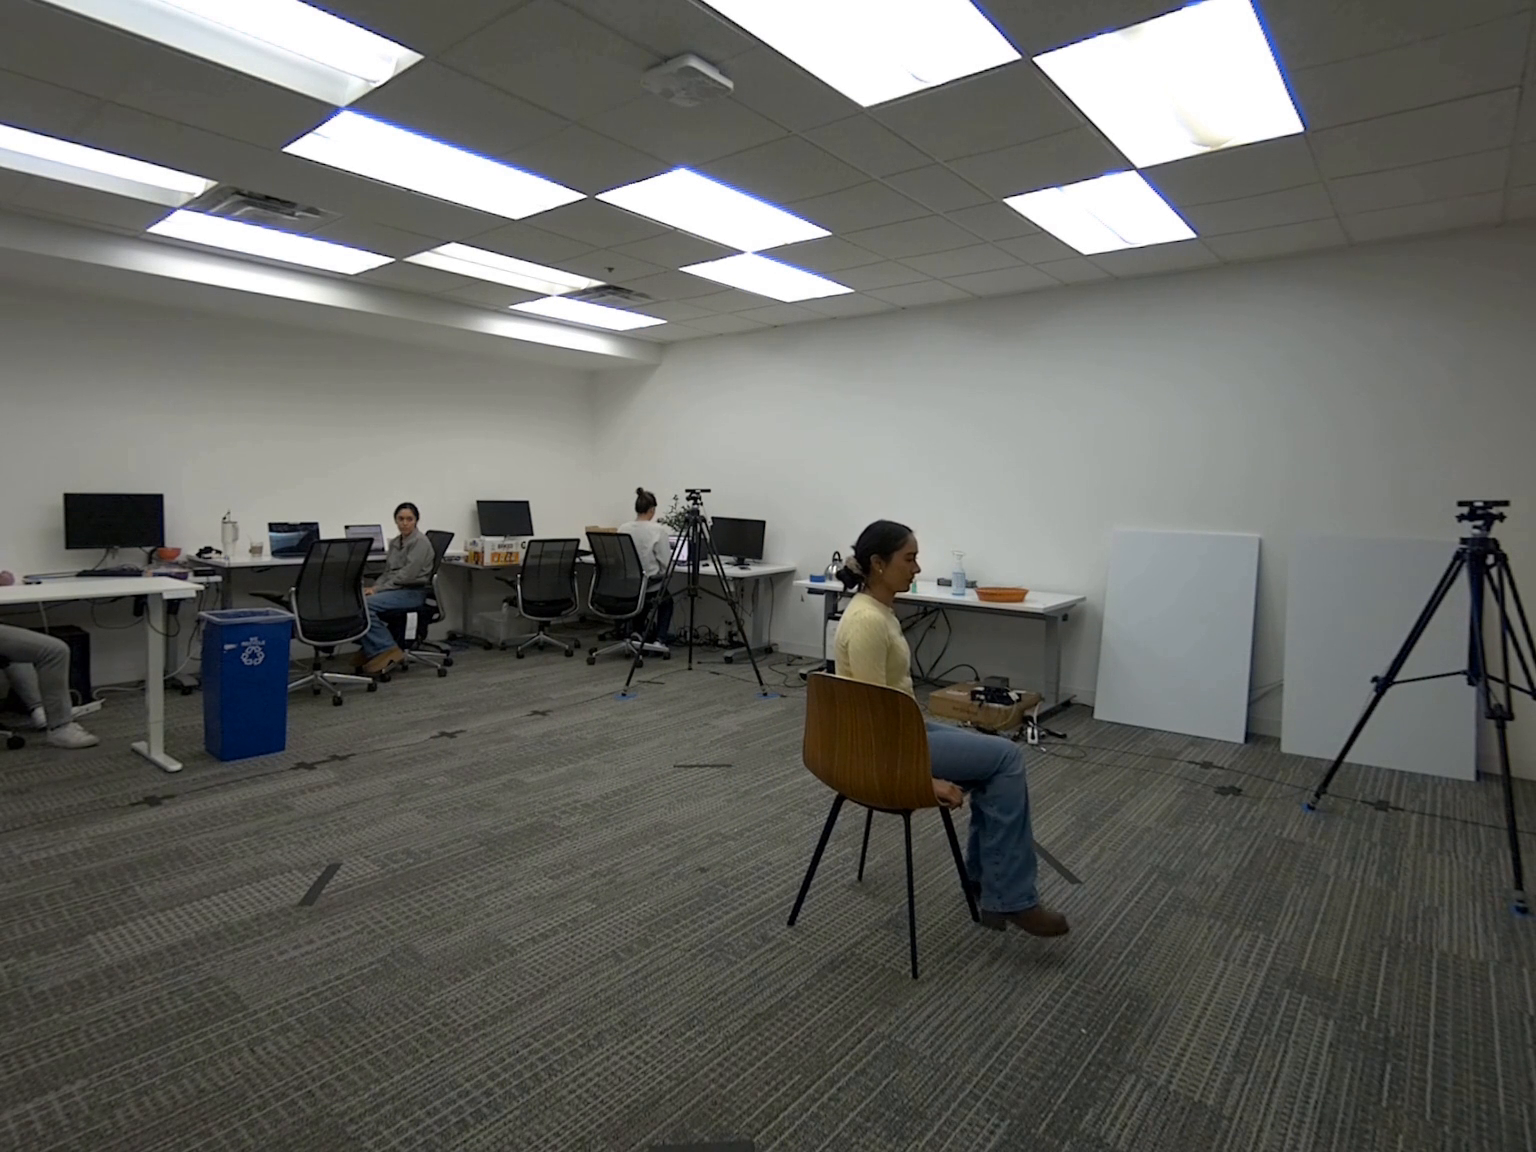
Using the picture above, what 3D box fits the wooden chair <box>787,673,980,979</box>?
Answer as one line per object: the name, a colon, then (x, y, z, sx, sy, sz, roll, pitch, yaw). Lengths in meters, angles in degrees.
wooden chair: (0.381, 0.693, 2.746, 0.494, 0.872, 0.509, 4, 8, 38)
